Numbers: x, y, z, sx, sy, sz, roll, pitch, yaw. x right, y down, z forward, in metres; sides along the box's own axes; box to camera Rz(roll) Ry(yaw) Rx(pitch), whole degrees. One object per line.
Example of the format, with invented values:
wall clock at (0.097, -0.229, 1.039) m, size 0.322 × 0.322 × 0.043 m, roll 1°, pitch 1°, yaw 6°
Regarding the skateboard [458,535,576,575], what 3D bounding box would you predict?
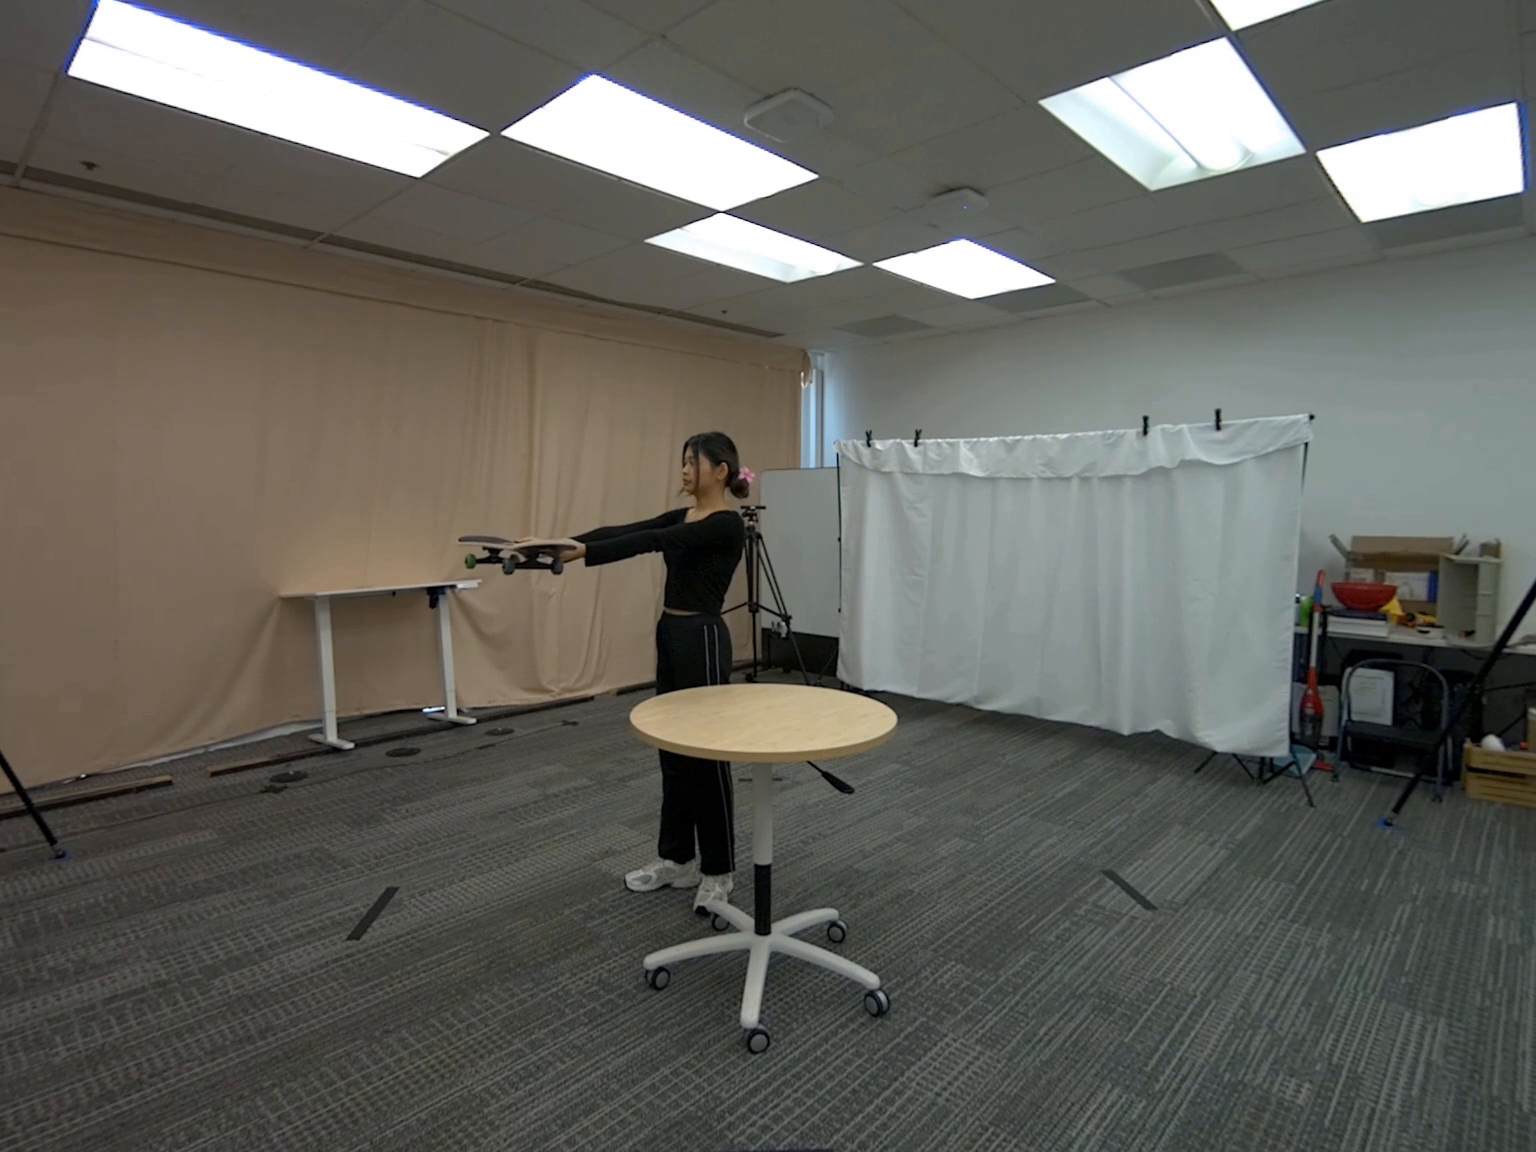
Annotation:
skateboard at (-0.830, -0.071, 2.712) m, size 0.187 × 0.110 × 0.810 m, roll 1°, pitch 2°, yaw -36°
